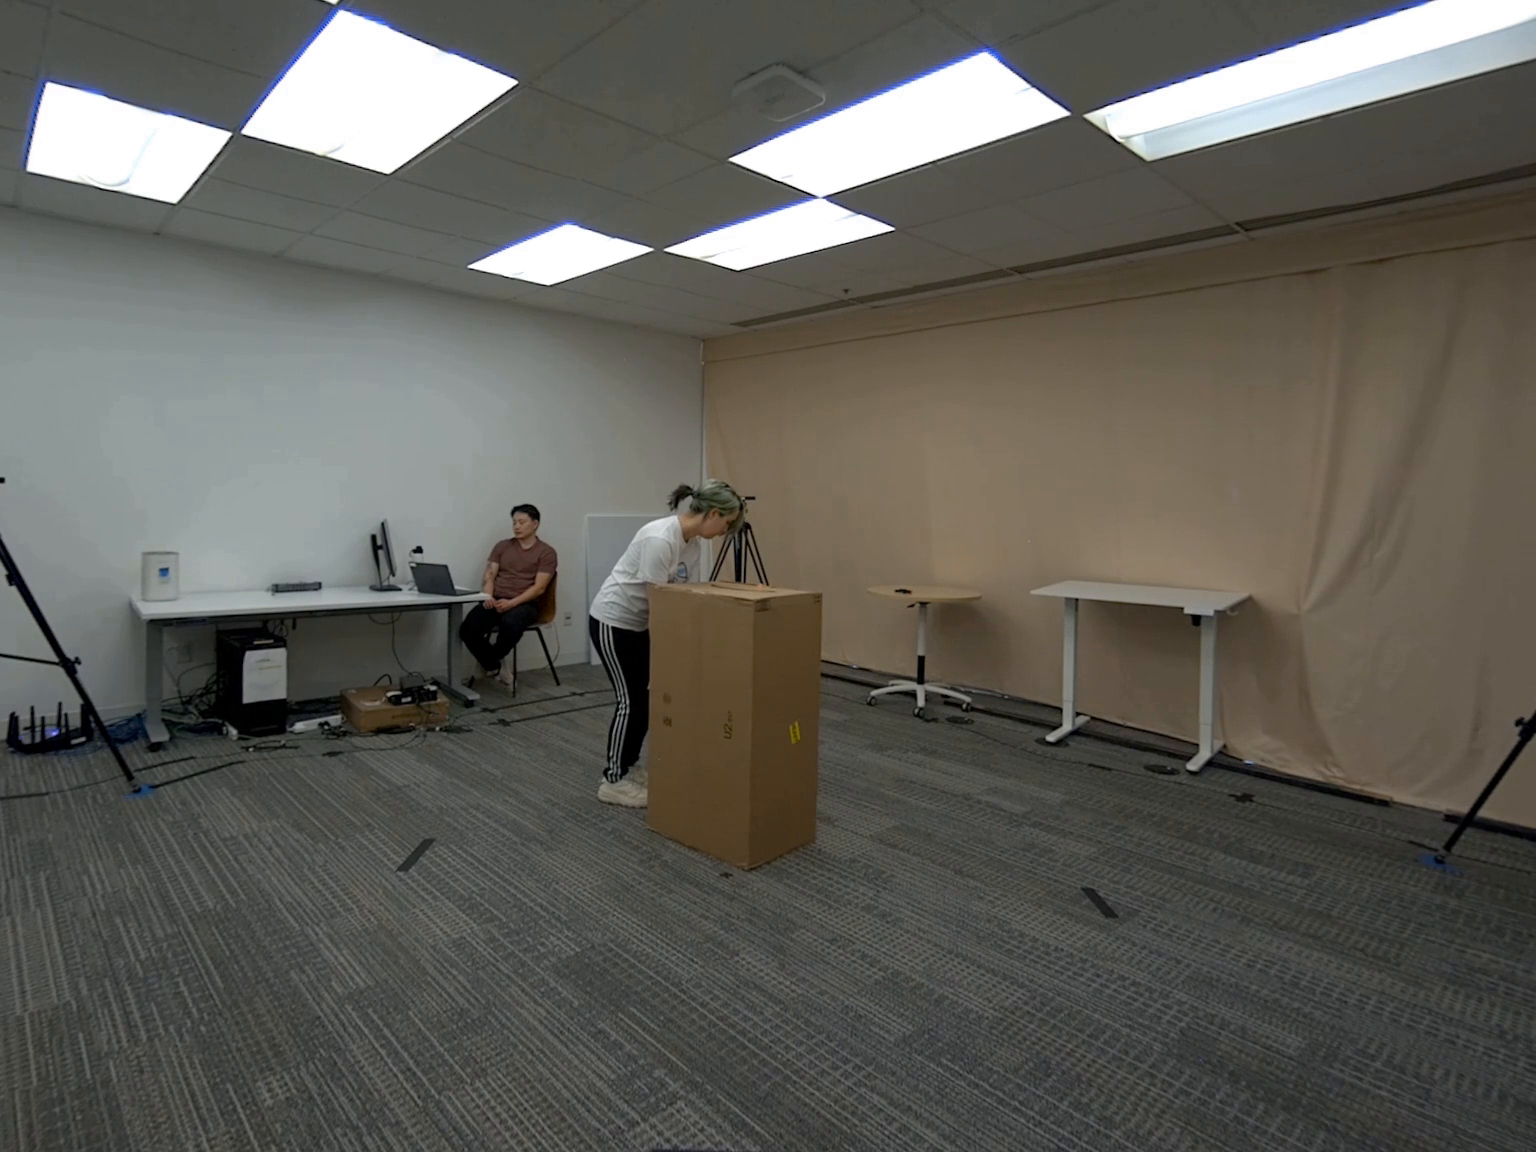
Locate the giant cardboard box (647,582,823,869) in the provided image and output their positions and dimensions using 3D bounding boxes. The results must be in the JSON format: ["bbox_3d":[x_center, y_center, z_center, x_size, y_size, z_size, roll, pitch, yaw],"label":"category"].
[{"bbox_3d":[-0.147,0.566,3.462,0.598,1.024,0.437,4,4,41],"label":"giant cardboard box"}]
